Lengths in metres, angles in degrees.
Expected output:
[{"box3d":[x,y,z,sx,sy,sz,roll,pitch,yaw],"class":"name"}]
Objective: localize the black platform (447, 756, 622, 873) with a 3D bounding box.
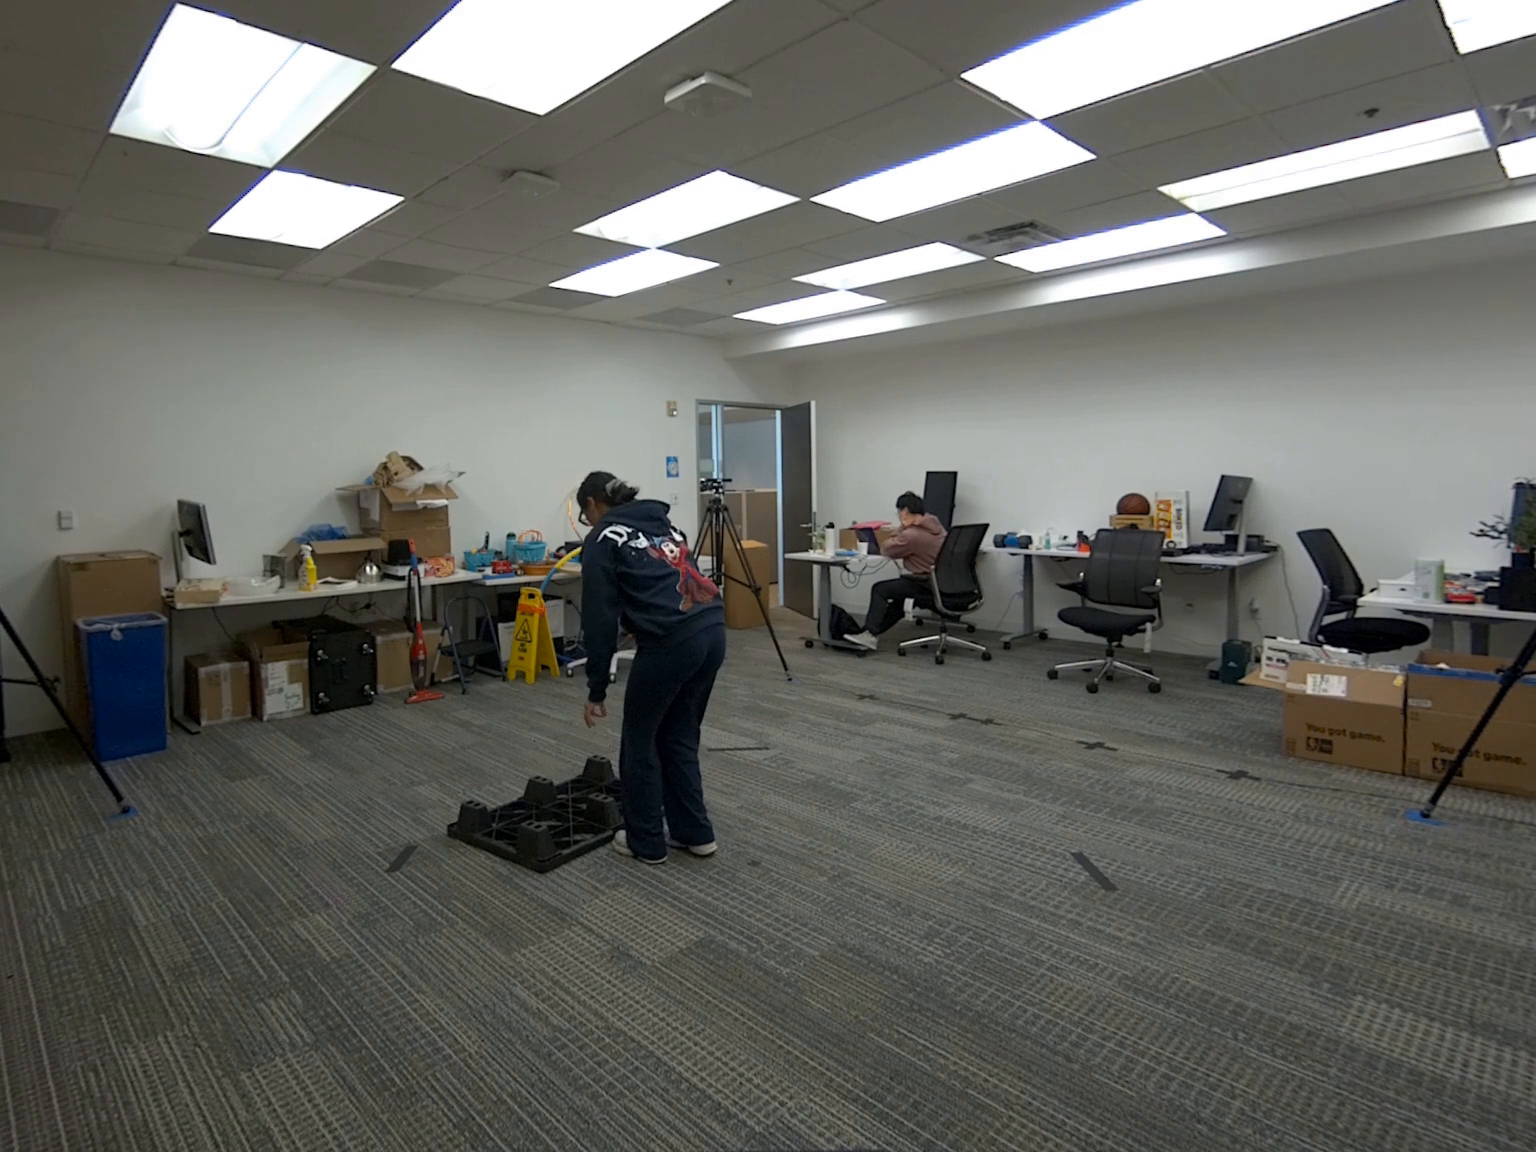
[{"box3d":[-0.815,0.949,3.538,0.623,0.143,0.786,3,8,36],"class":"black platform"}]
